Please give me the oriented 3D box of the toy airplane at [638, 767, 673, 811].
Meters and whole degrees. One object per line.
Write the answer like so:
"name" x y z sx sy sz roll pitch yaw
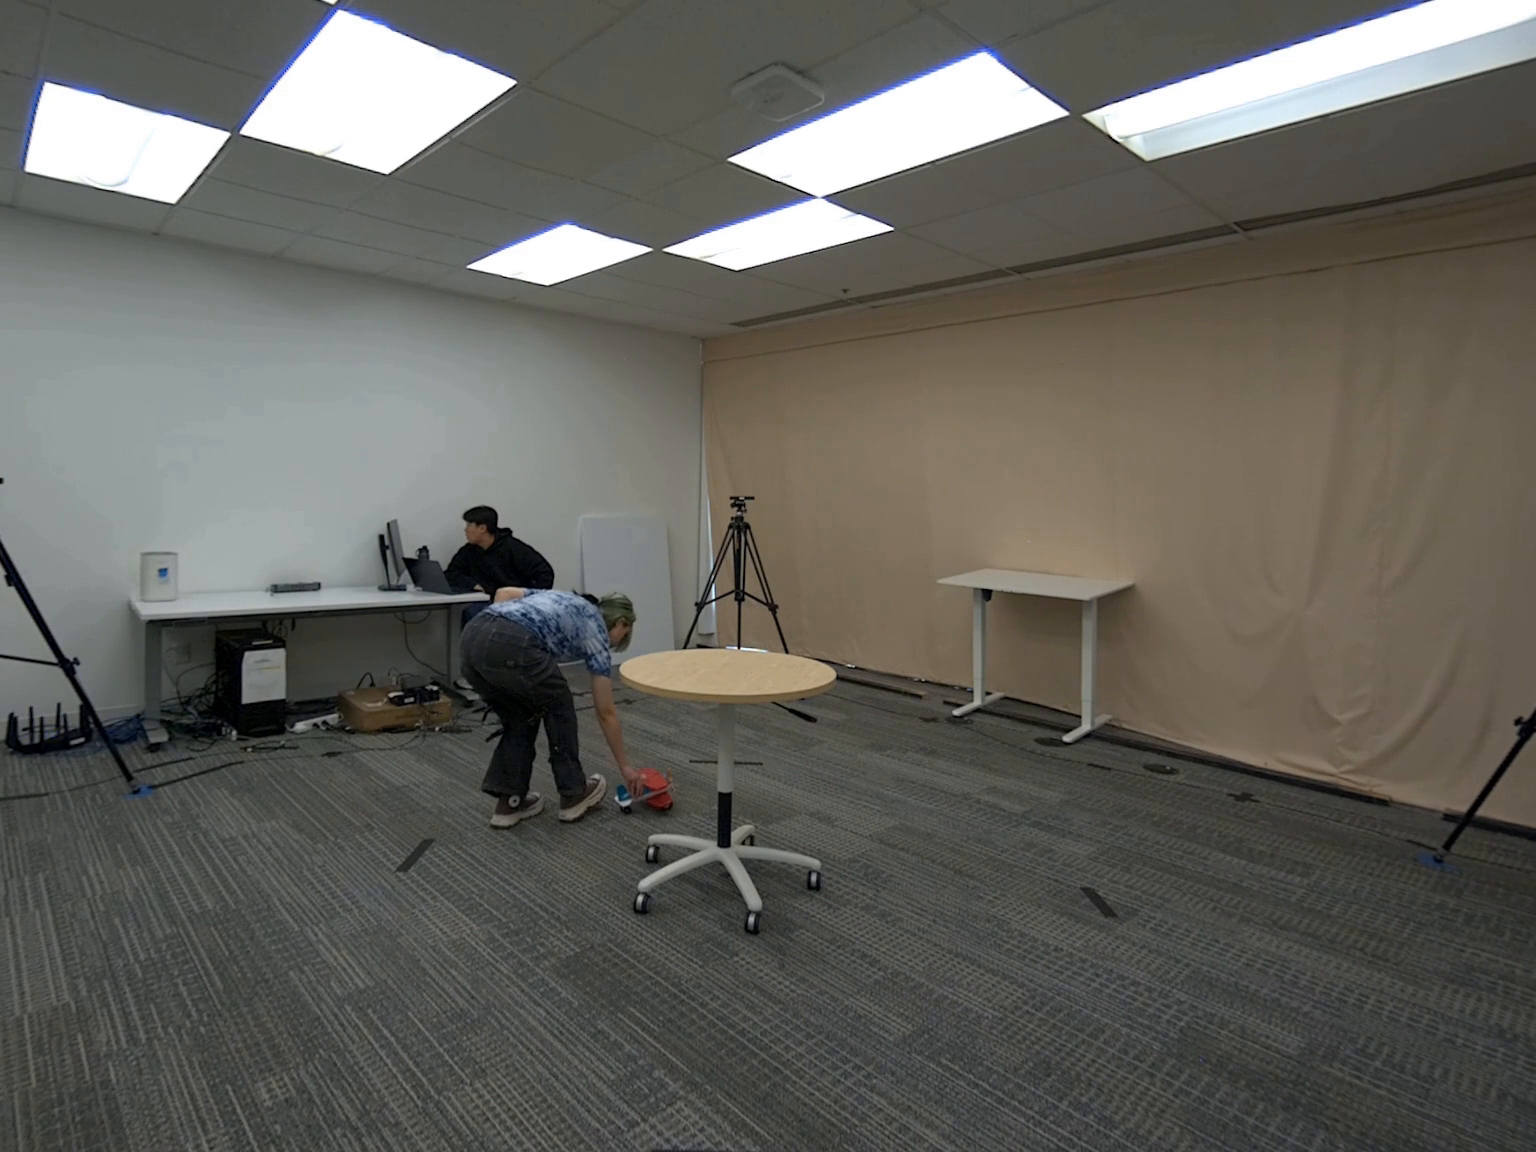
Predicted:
"toy airplane" -0.546 0.966 3.729 0.257 0.156 0.254 5 4 32
